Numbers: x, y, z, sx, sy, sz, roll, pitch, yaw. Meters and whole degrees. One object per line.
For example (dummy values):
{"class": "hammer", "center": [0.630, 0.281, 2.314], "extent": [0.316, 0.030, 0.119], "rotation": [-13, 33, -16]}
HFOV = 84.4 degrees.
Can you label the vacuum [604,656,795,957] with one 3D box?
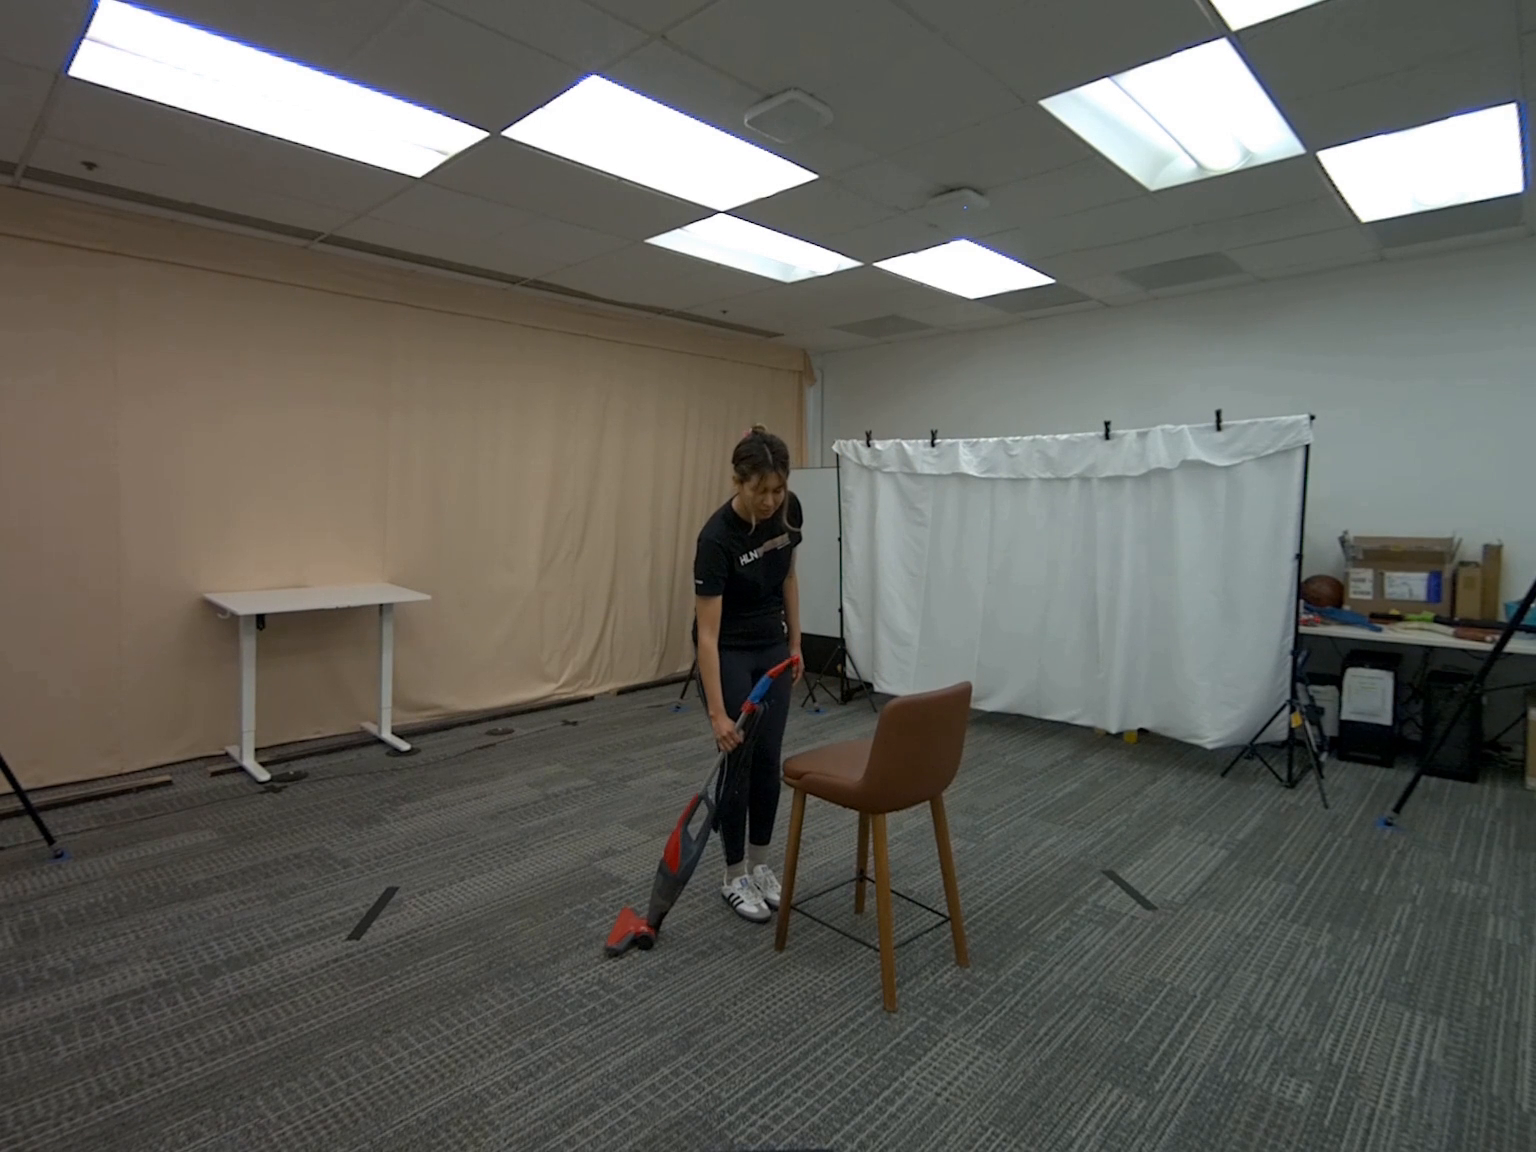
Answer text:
{"class": "vacuum", "center": [-0.176, 0.711, 2.644], "extent": [0.145, 1.049, 0.251], "rotation": [31, 7, 2]}
